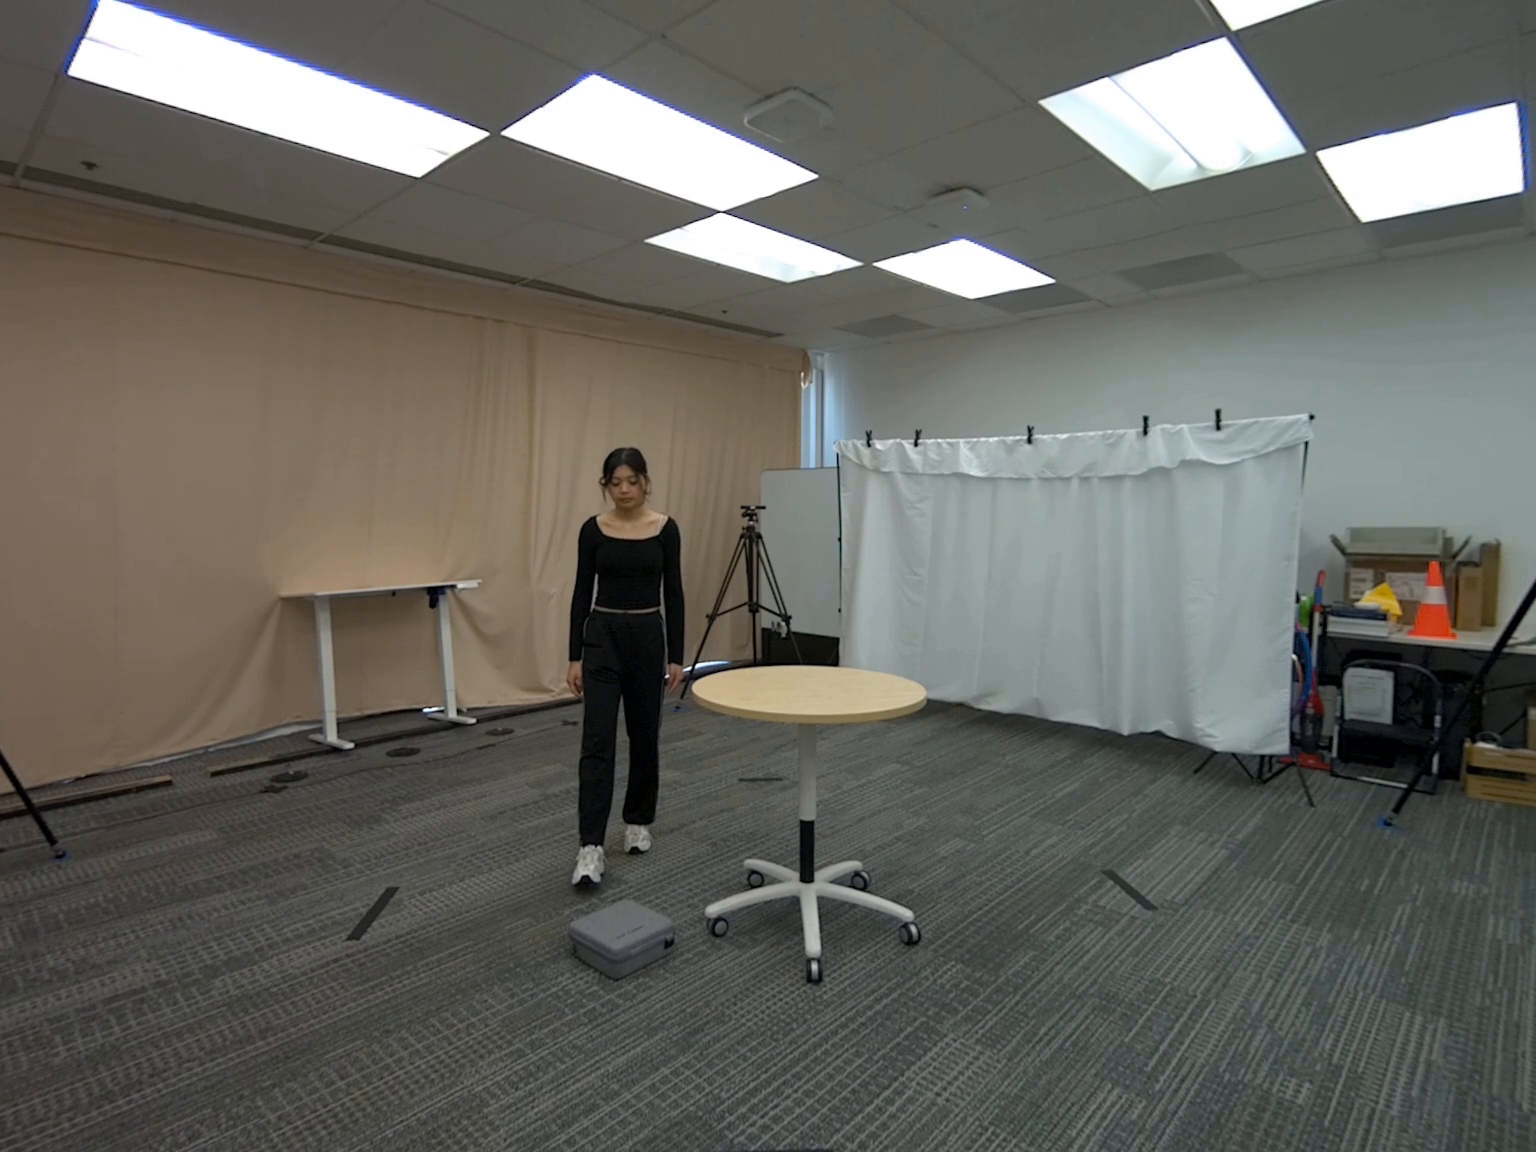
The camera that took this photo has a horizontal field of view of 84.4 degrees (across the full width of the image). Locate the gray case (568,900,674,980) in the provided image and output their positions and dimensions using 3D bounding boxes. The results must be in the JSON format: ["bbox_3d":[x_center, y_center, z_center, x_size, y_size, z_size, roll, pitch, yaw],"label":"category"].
[{"bbox_3d":[-0.455,1.120,2.622,0.269,0.104,0.249,2,6,43],"label":"gray case"}]
